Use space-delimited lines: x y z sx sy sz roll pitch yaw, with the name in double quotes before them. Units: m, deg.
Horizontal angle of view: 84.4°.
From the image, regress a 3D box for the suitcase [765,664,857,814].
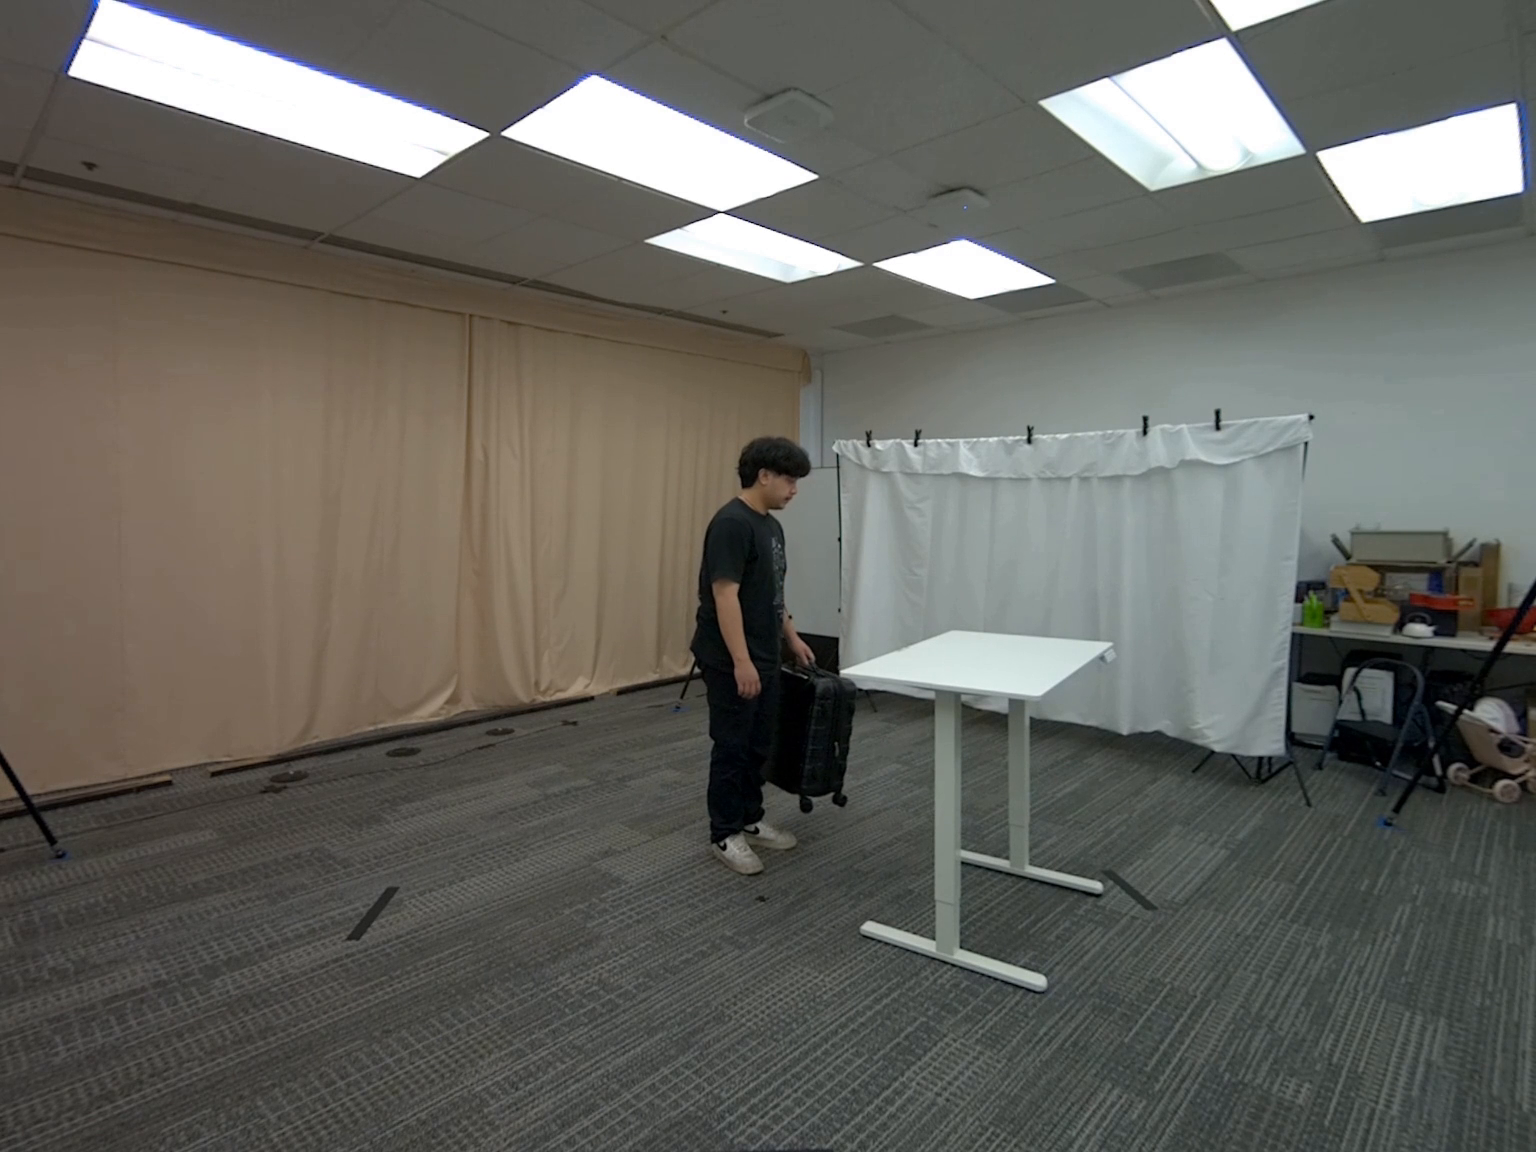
"suitcase" 0.162 0.652 3.555 0.240 0.548 0.388 4 4 -38
